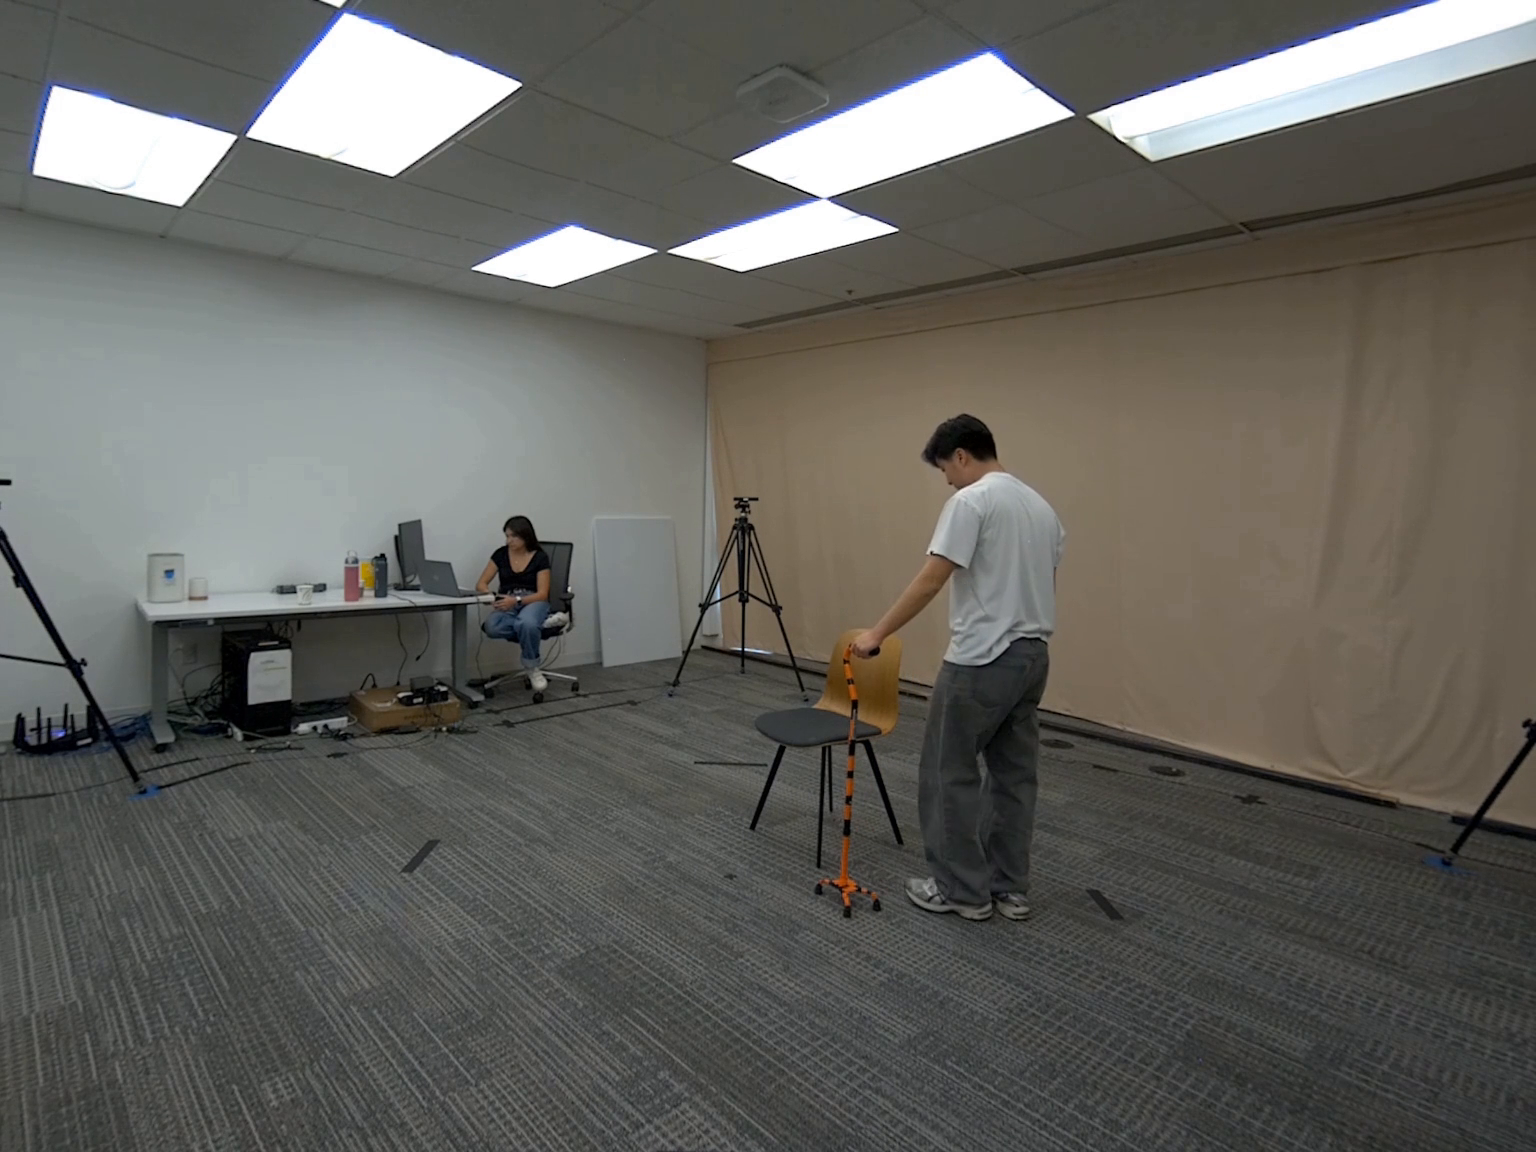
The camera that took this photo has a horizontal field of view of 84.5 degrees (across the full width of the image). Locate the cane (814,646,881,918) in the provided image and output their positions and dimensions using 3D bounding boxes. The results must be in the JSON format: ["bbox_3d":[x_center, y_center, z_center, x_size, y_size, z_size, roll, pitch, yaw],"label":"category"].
[{"bbox_3d":[0.286,0.675,2.900,0.148,0.905,0.211,1,5,-29],"label":"cane"}]
